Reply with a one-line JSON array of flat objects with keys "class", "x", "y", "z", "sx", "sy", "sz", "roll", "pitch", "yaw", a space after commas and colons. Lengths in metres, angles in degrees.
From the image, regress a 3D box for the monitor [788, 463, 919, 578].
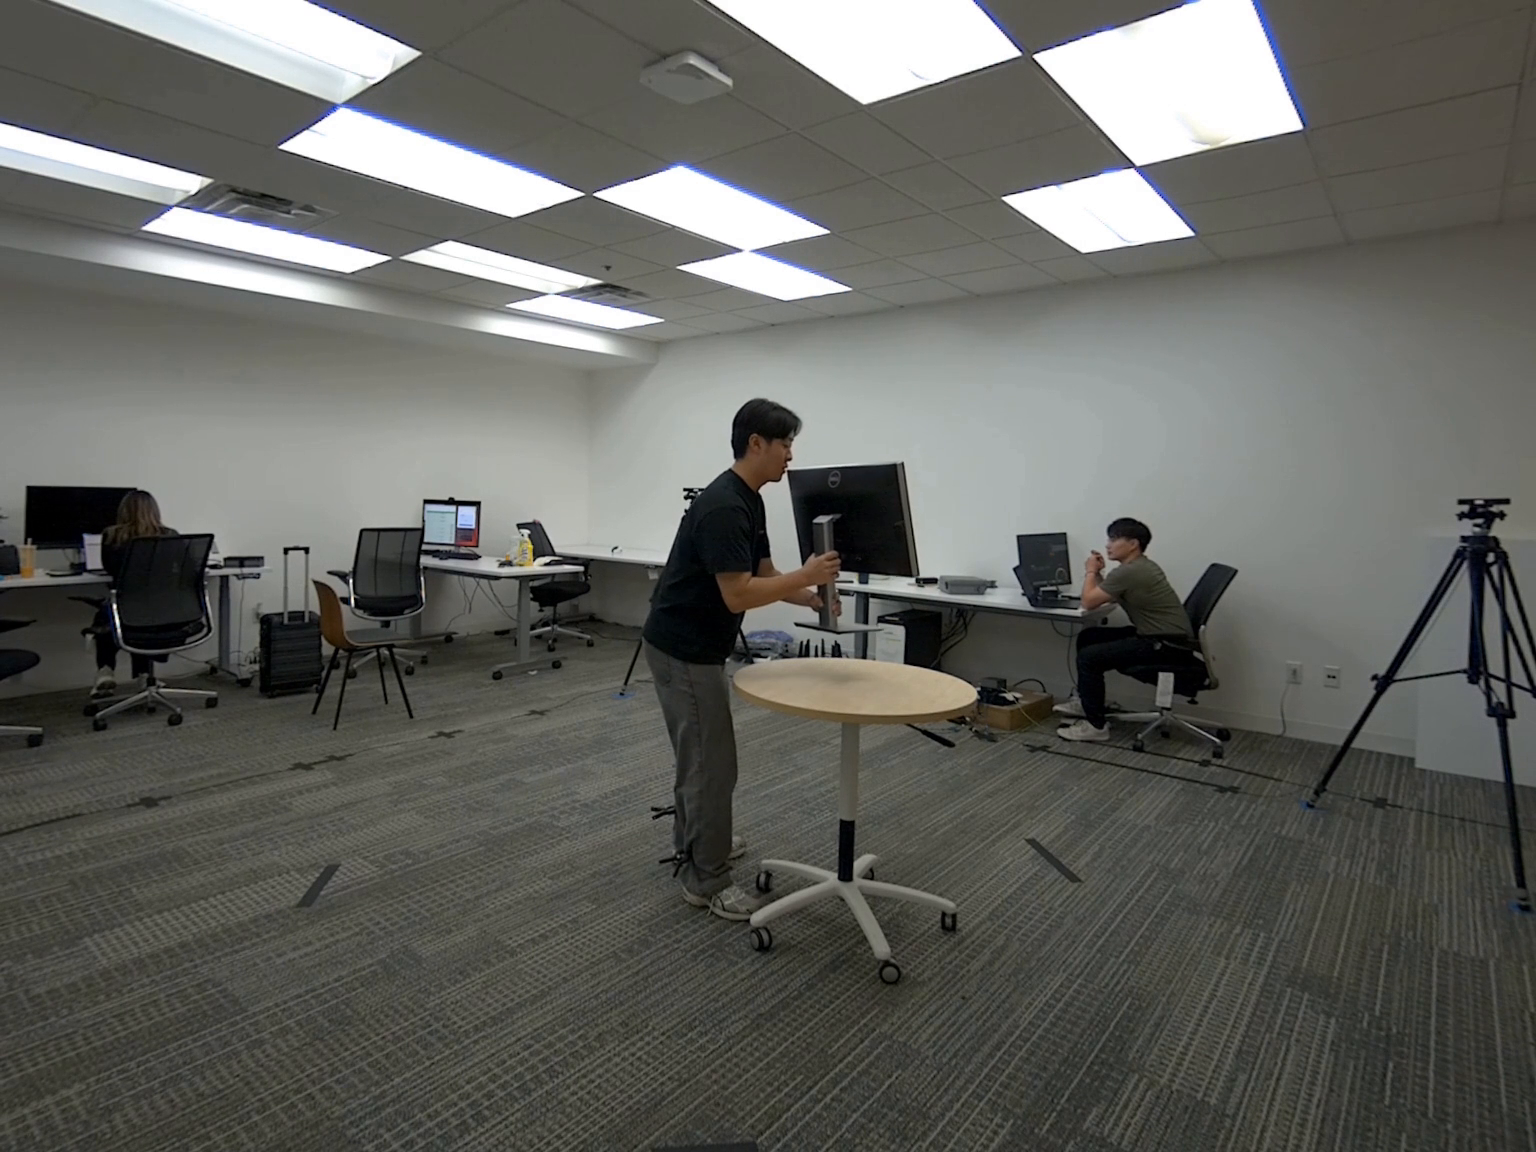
[{"class": "monitor", "x": 0.231, "y": -0.085, "z": 2.815, "sx": 0.215, "sy": 0.566, "sz": 0.579, "roll": 4, "pitch": 1, "yaw": -32}]
